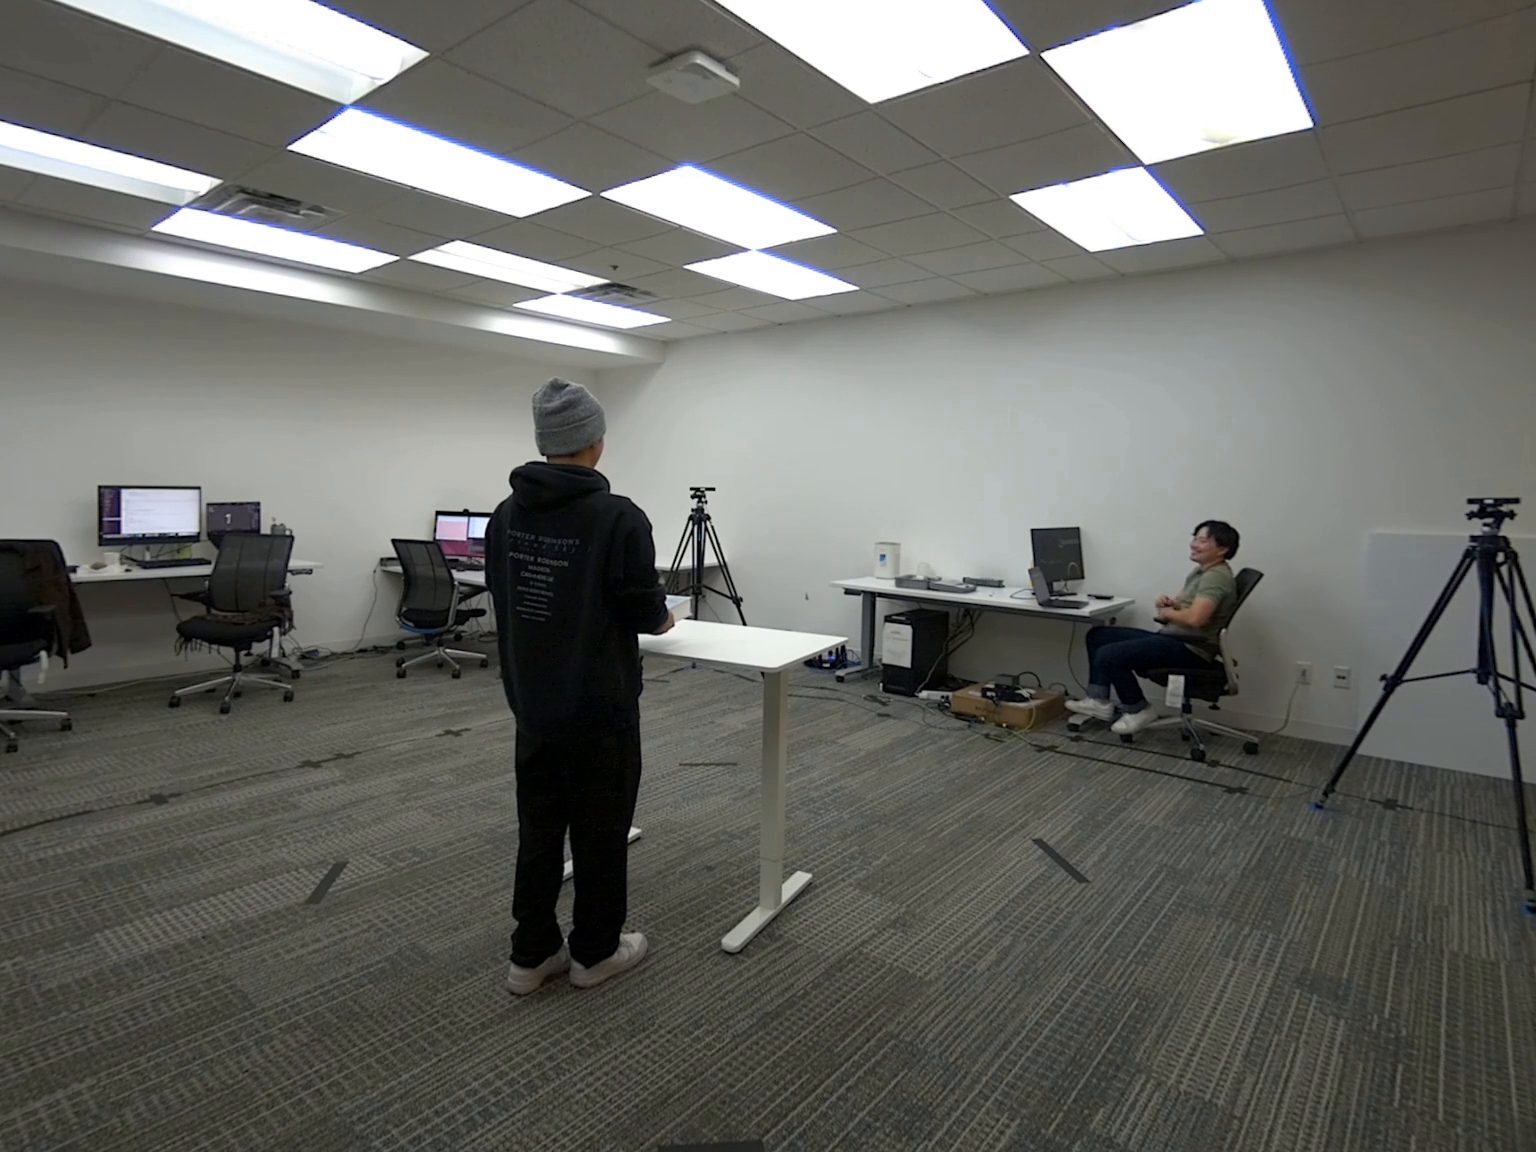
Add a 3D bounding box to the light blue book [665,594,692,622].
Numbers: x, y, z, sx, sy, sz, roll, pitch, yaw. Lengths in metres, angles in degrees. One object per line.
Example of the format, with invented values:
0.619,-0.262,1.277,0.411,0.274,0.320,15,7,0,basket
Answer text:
-0.373,0.120,2.726,0.195,0.058,0.258,2,13,20,light blue book
